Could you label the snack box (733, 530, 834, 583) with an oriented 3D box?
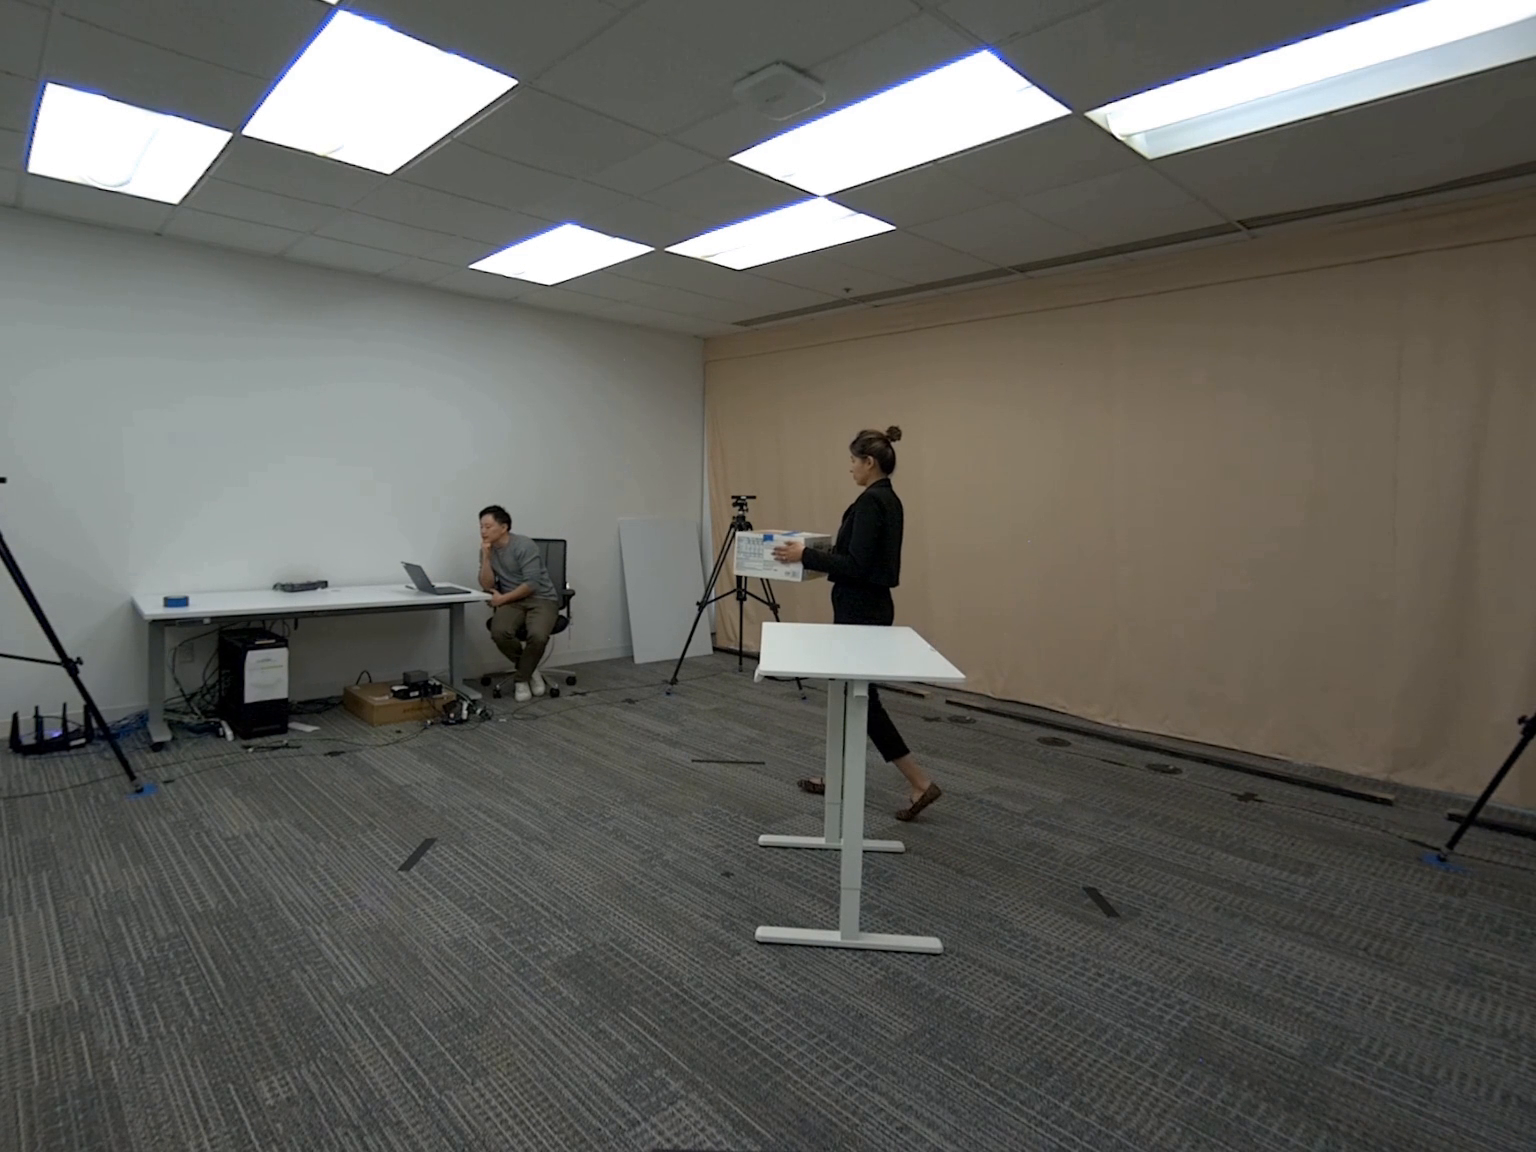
[{"bbox_3d":[0.077,-0.098,3.990,0.347,0.205,0.399,5,6,24],"label":"snack box"}]
